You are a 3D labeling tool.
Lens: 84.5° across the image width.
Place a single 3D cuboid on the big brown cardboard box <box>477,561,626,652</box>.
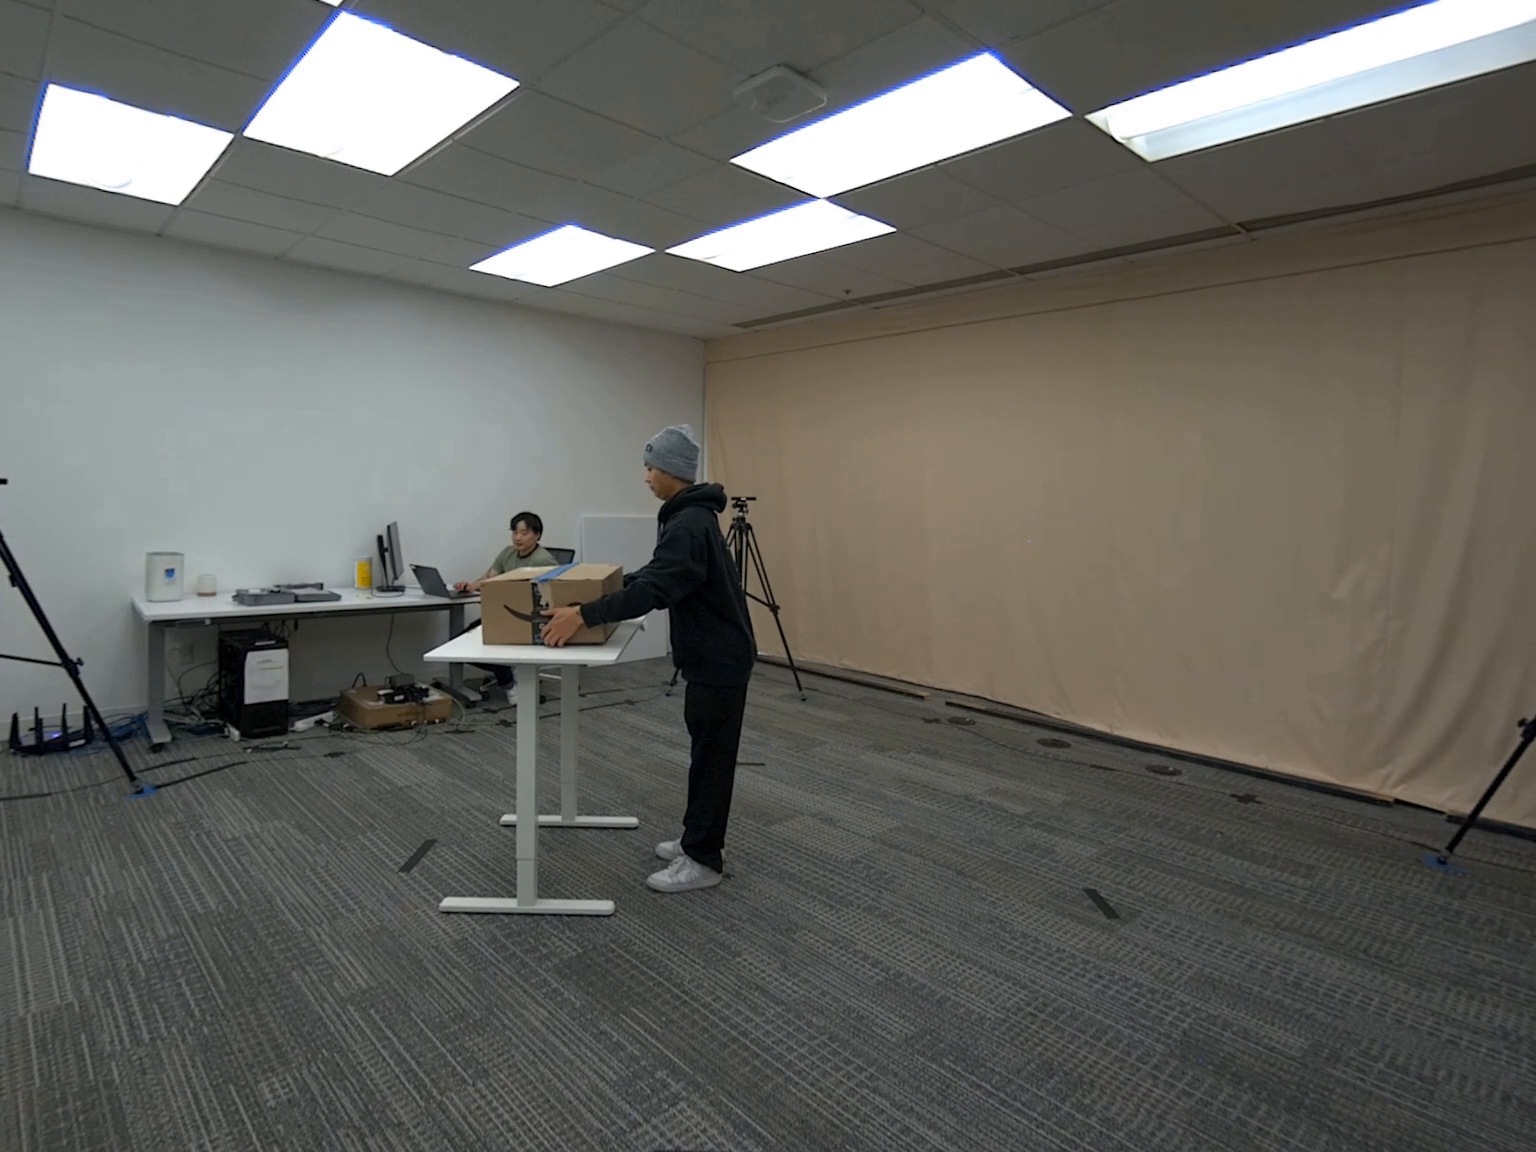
[{"bbox_3d":[-0.769,0.095,3.114,0.417,0.232,0.592,-2,7,-1],"label":"big brown cardboard box"}]
